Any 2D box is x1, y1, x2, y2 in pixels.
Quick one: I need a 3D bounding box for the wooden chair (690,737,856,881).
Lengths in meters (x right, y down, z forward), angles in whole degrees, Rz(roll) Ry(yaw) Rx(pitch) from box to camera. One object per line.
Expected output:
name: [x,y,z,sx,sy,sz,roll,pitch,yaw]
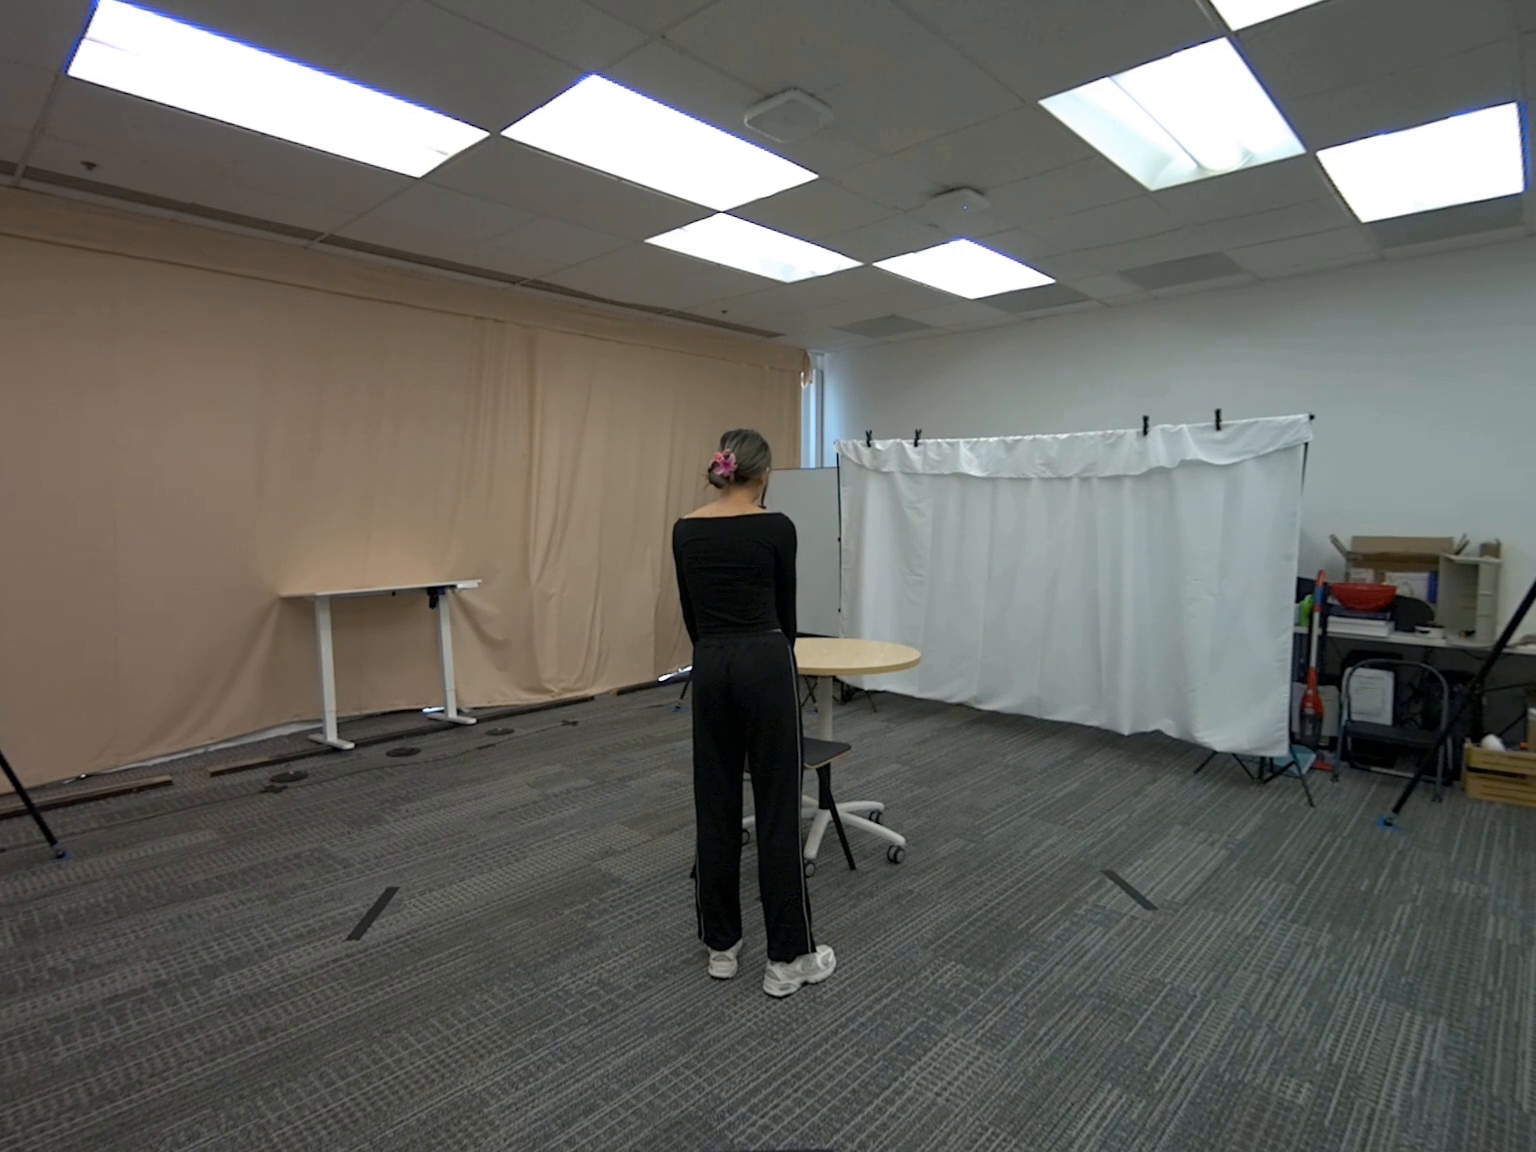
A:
wooden chair: [0.023,0.698,3.157,0.493,0.873,0.509,1,8,38]
